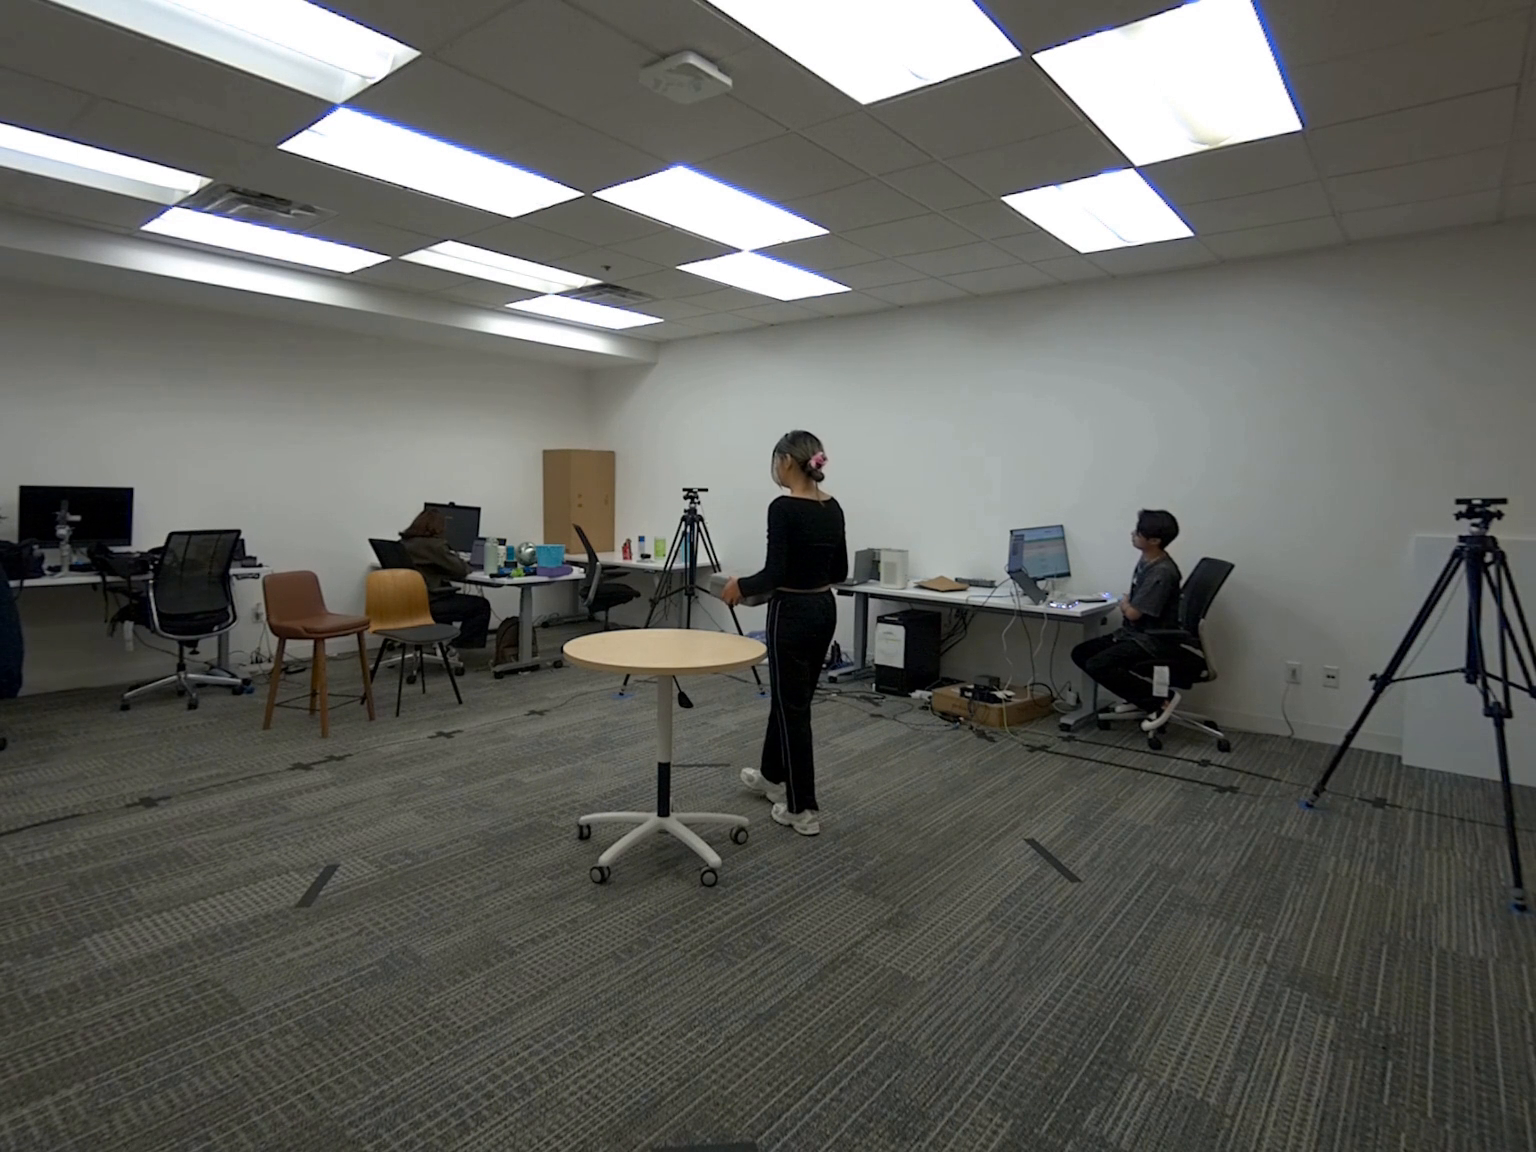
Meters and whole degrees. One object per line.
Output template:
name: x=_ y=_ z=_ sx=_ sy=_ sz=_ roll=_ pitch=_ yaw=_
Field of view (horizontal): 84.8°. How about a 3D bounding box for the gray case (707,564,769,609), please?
gray case: x=-0.087 y=0.039 z=3.713 sx=0.269 sy=0.103 sz=0.251 roll=12 pitch=14 yaw=32
